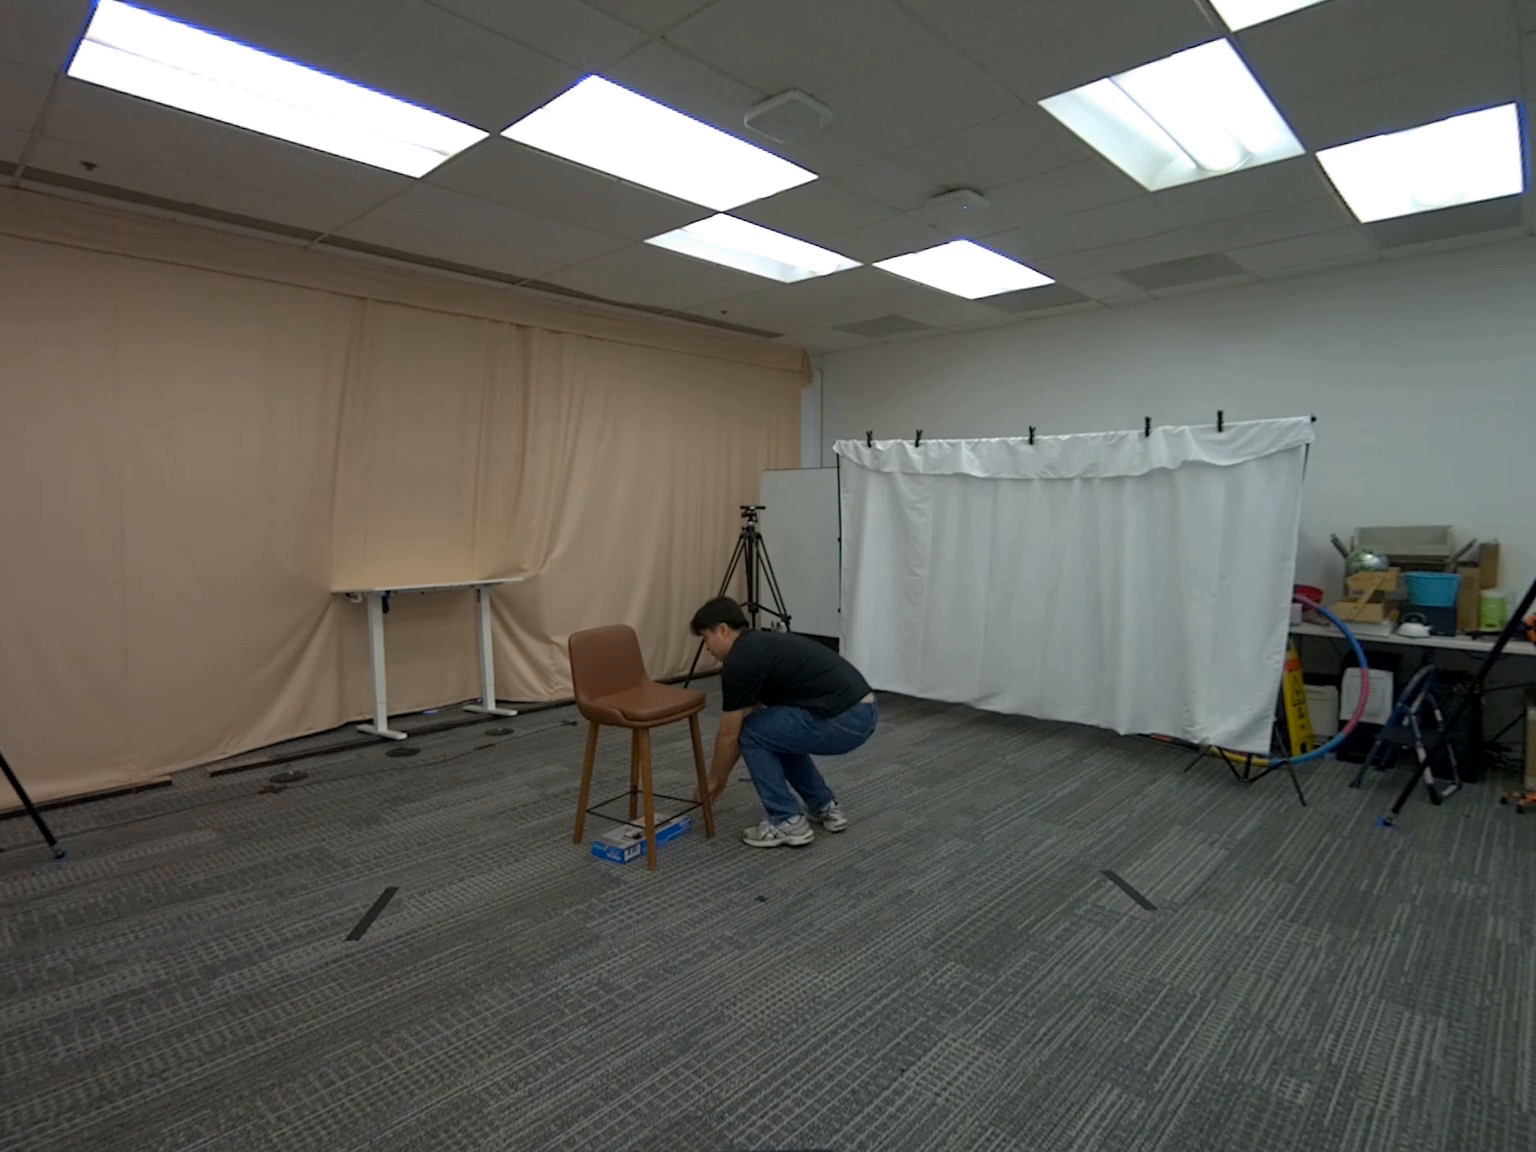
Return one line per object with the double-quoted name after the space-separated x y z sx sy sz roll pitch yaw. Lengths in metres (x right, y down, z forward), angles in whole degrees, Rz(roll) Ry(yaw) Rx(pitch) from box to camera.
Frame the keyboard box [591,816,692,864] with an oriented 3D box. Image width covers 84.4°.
-0.523 1.080 3.508 0.181 0.059 0.424 2 5 34 "keyboard box"
